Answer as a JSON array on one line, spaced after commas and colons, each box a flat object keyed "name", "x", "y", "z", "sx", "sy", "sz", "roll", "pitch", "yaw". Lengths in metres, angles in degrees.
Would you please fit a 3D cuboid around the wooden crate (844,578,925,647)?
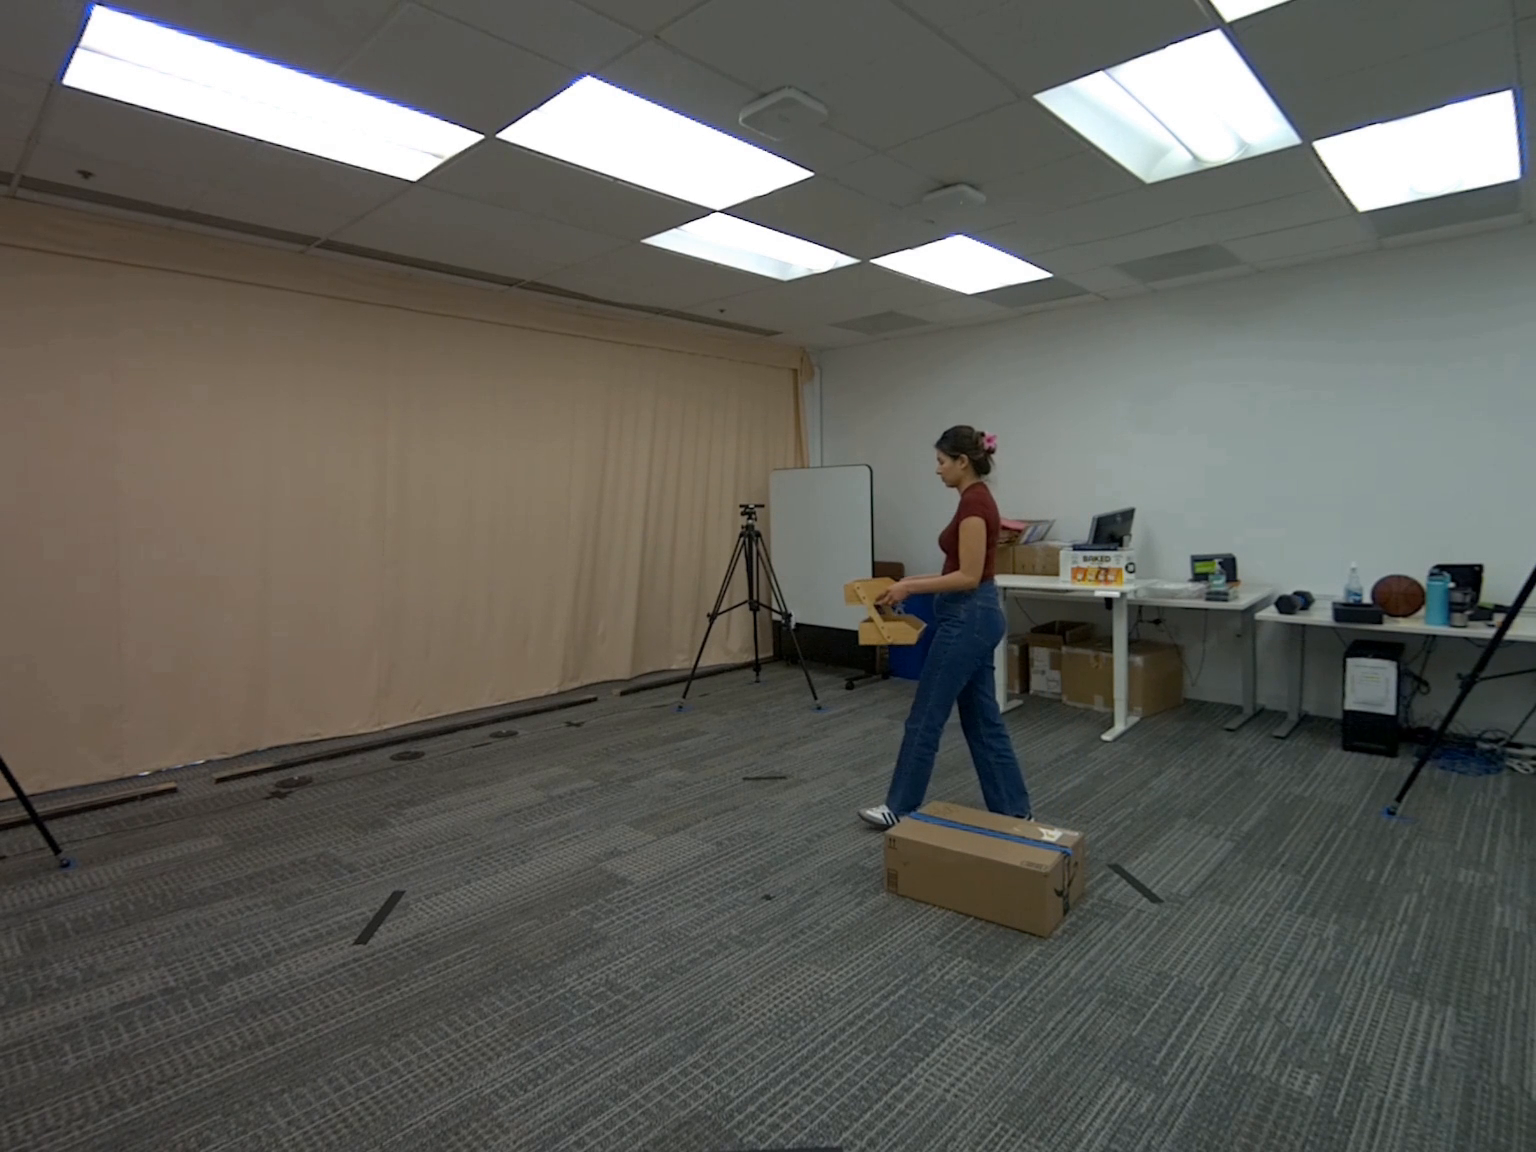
[{"name": "wooden crate", "x": 0.521, "y": 0.147, "z": 3.649, "sx": 0.308, "sy": 0.273, "sz": 0.318, "roll": -4, "pitch": 1, "yaw": 18}]
